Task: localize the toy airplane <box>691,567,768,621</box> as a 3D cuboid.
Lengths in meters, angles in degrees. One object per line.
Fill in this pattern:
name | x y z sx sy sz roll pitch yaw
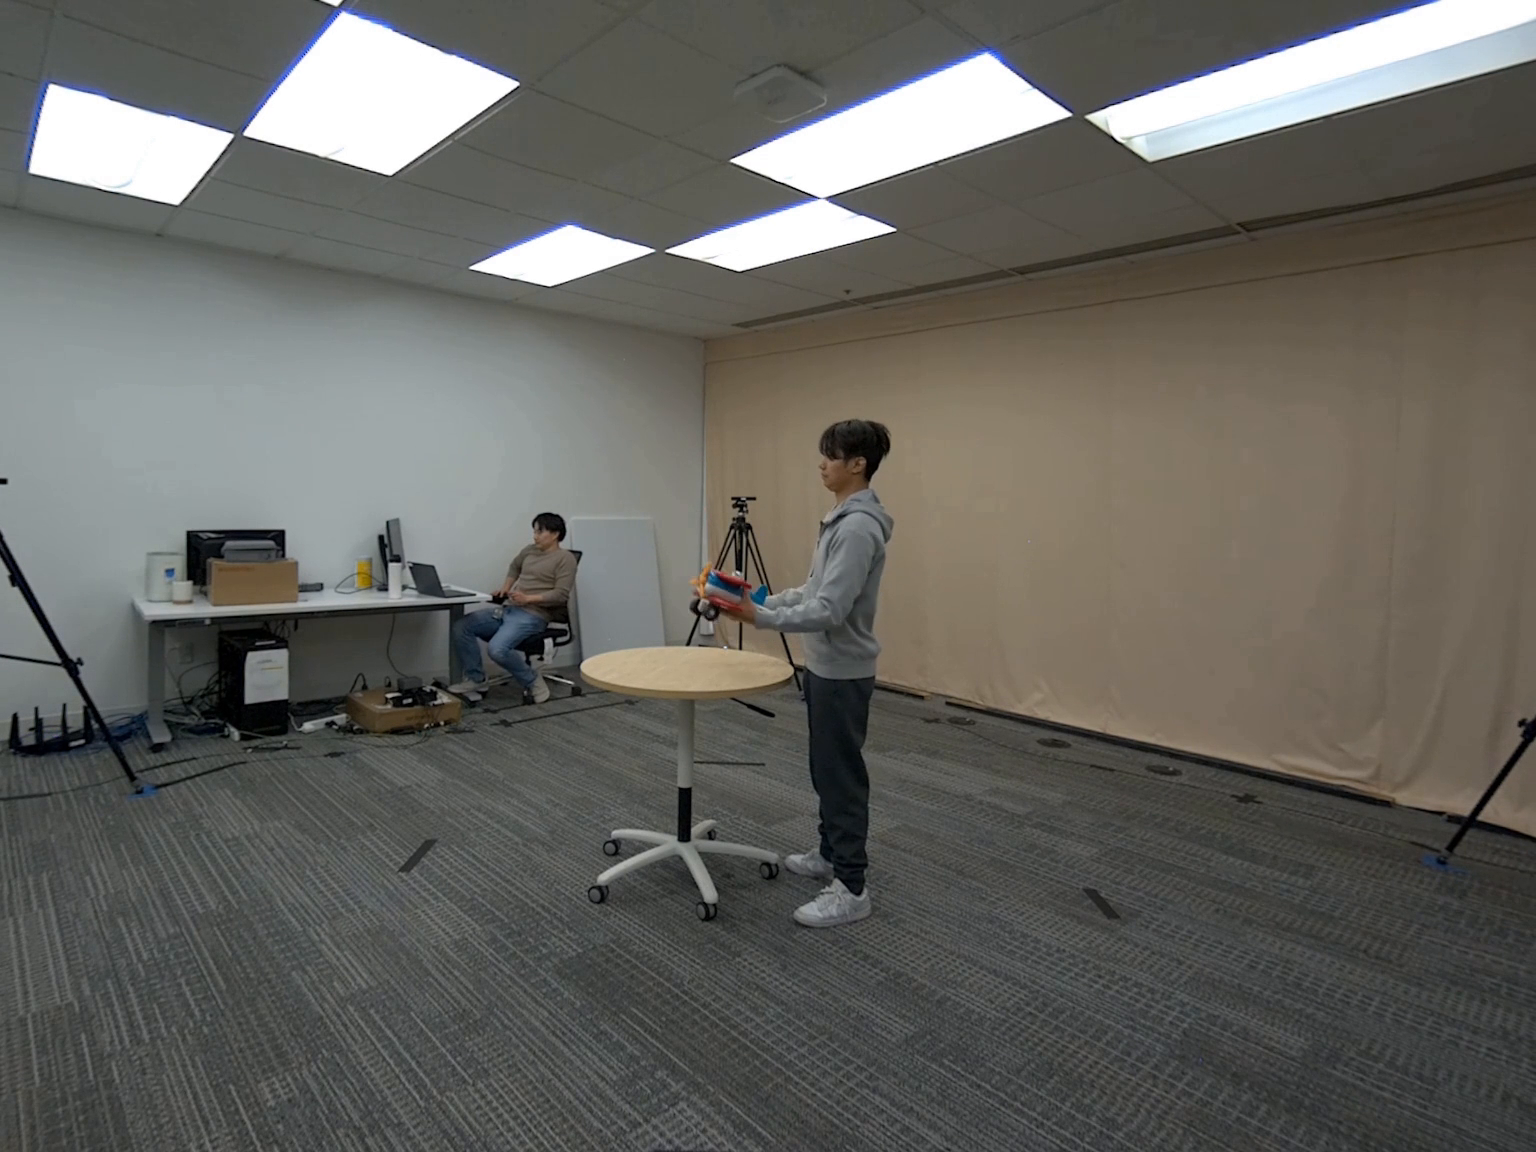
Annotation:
toy airplane | -0.126 0.046 2.709 0.257 0.156 0.253 13 6 30
